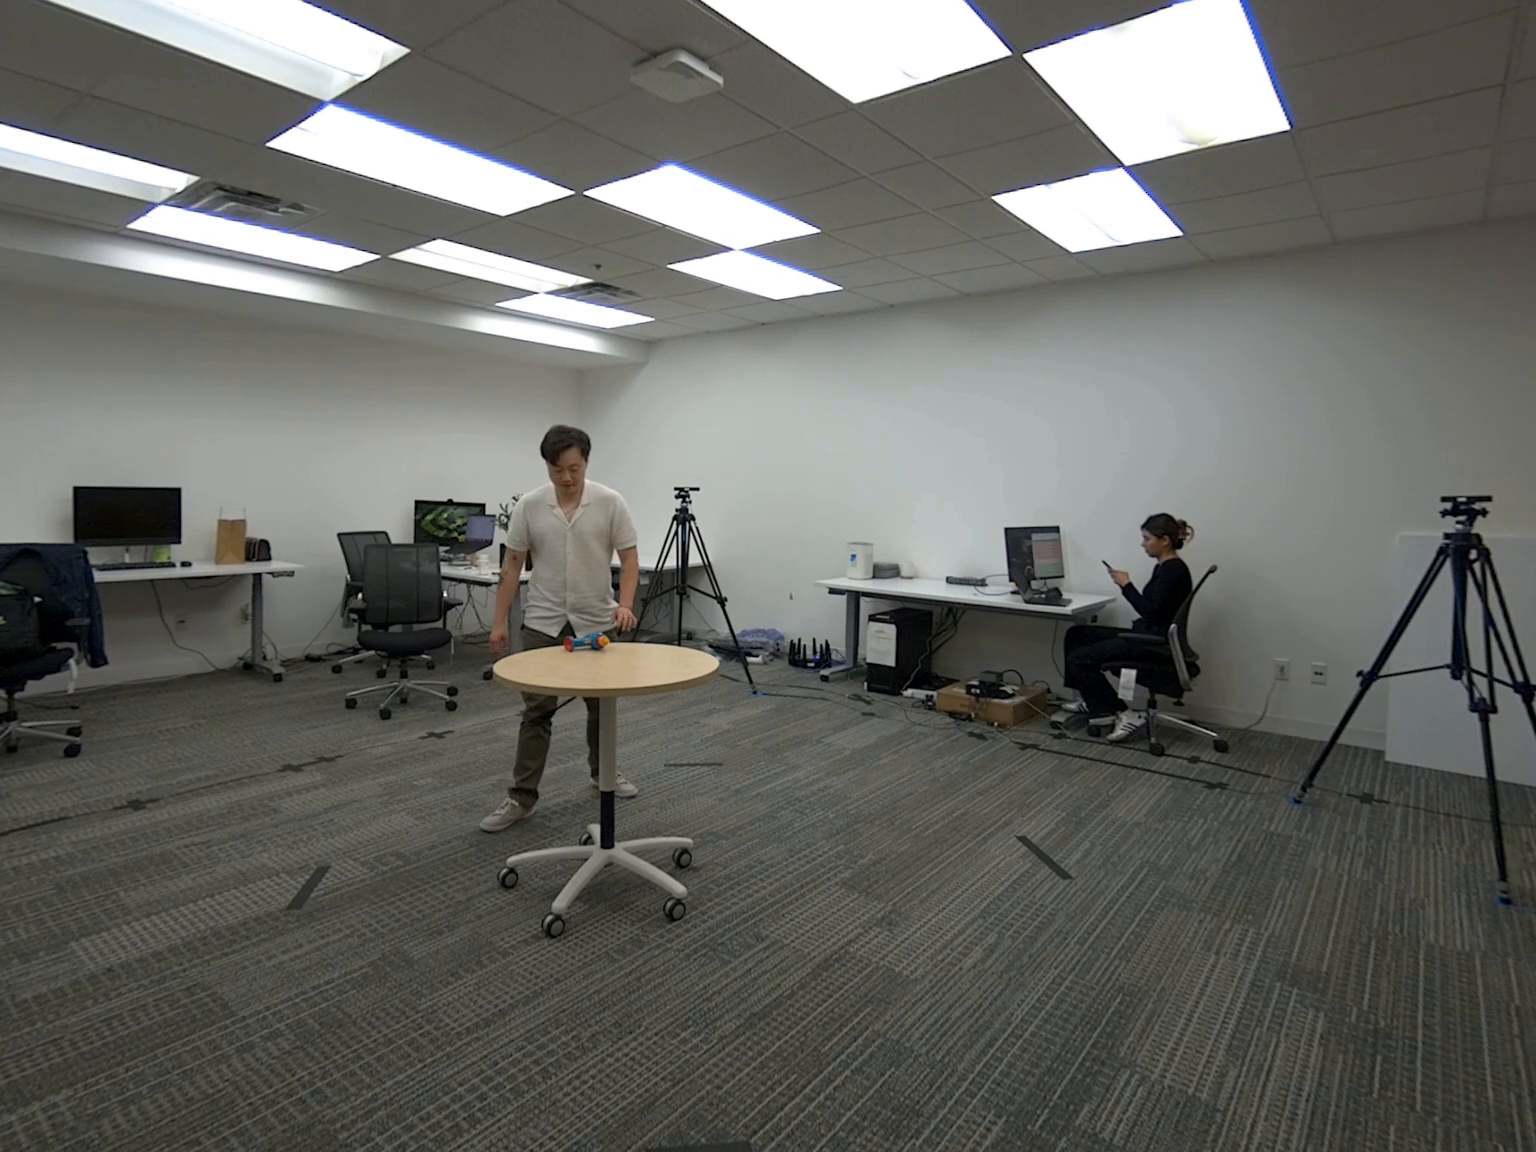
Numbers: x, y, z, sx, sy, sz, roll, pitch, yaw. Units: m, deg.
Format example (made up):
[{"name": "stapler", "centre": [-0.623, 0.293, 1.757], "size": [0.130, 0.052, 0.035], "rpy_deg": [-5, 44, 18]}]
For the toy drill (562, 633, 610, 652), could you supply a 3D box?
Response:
[{"name": "toy drill", "centre": [-0.668, 0.243, 3.146], "size": [0.142, 0.061, 0.174], "rpy_deg": [-5, 3, -30]}]
